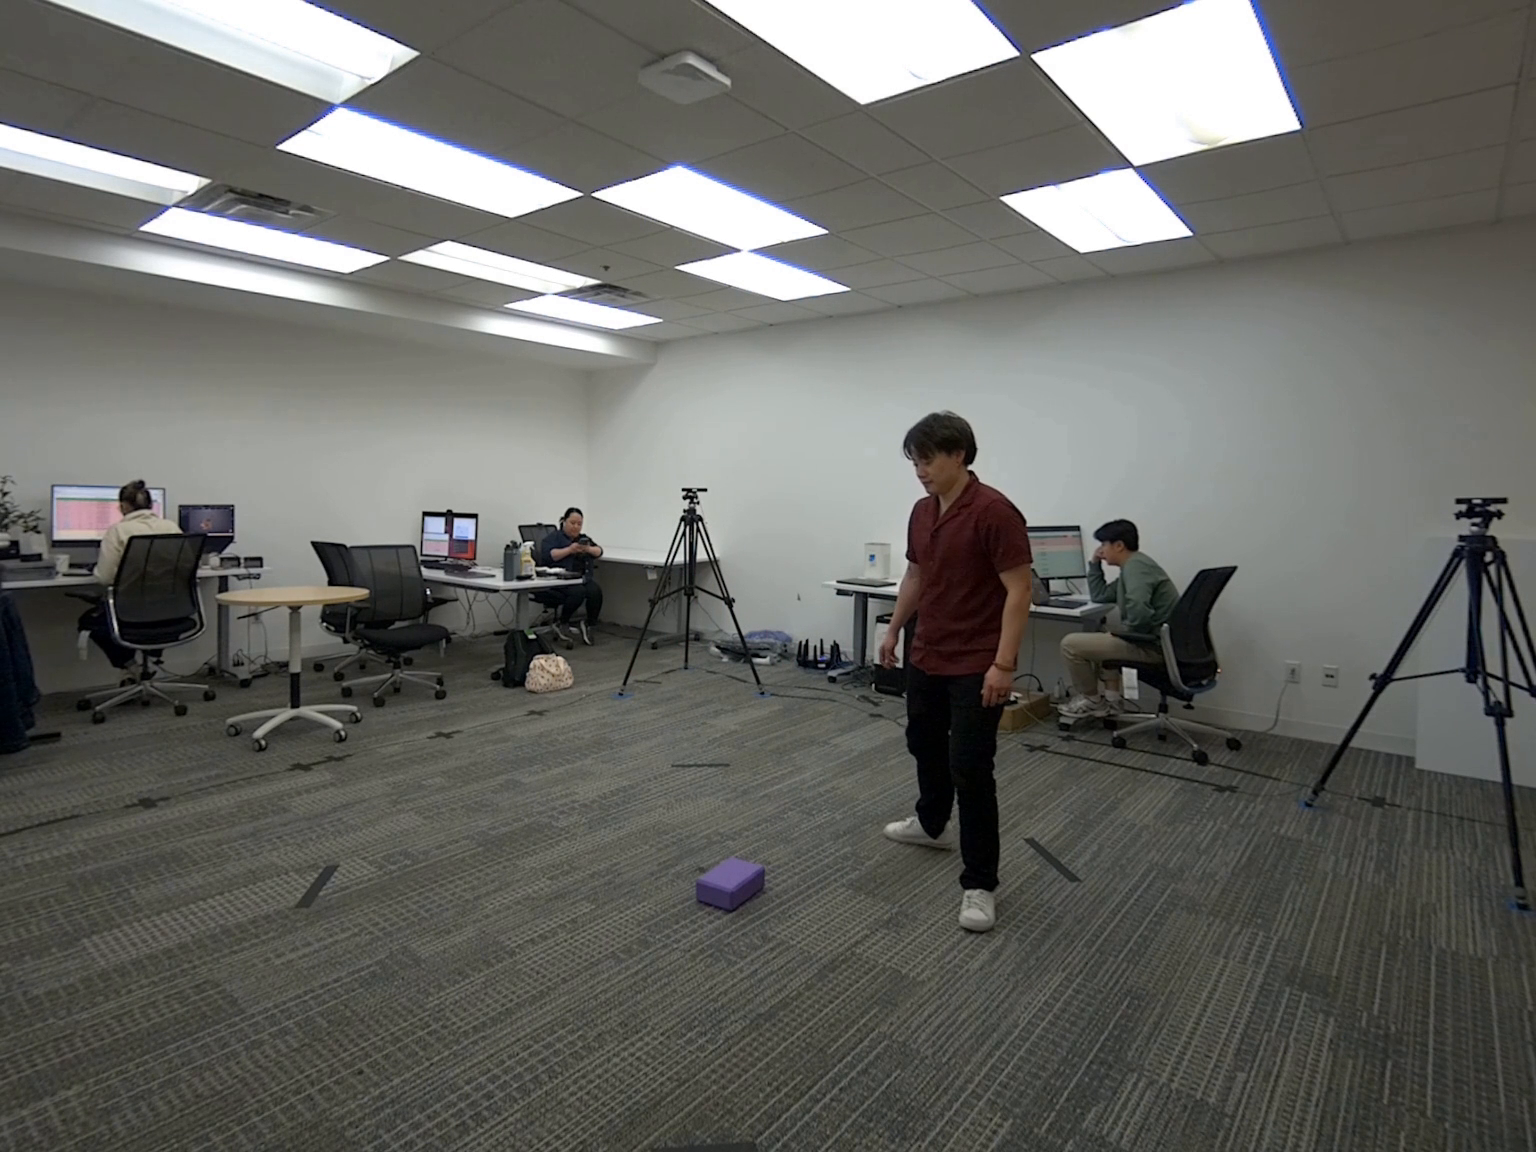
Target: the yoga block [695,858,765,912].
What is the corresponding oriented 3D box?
[{"bbox_3d":[-0.134,1.050,2.915,0.153,0.076,0.223,3,5,29],"label":"yoga block"}]
